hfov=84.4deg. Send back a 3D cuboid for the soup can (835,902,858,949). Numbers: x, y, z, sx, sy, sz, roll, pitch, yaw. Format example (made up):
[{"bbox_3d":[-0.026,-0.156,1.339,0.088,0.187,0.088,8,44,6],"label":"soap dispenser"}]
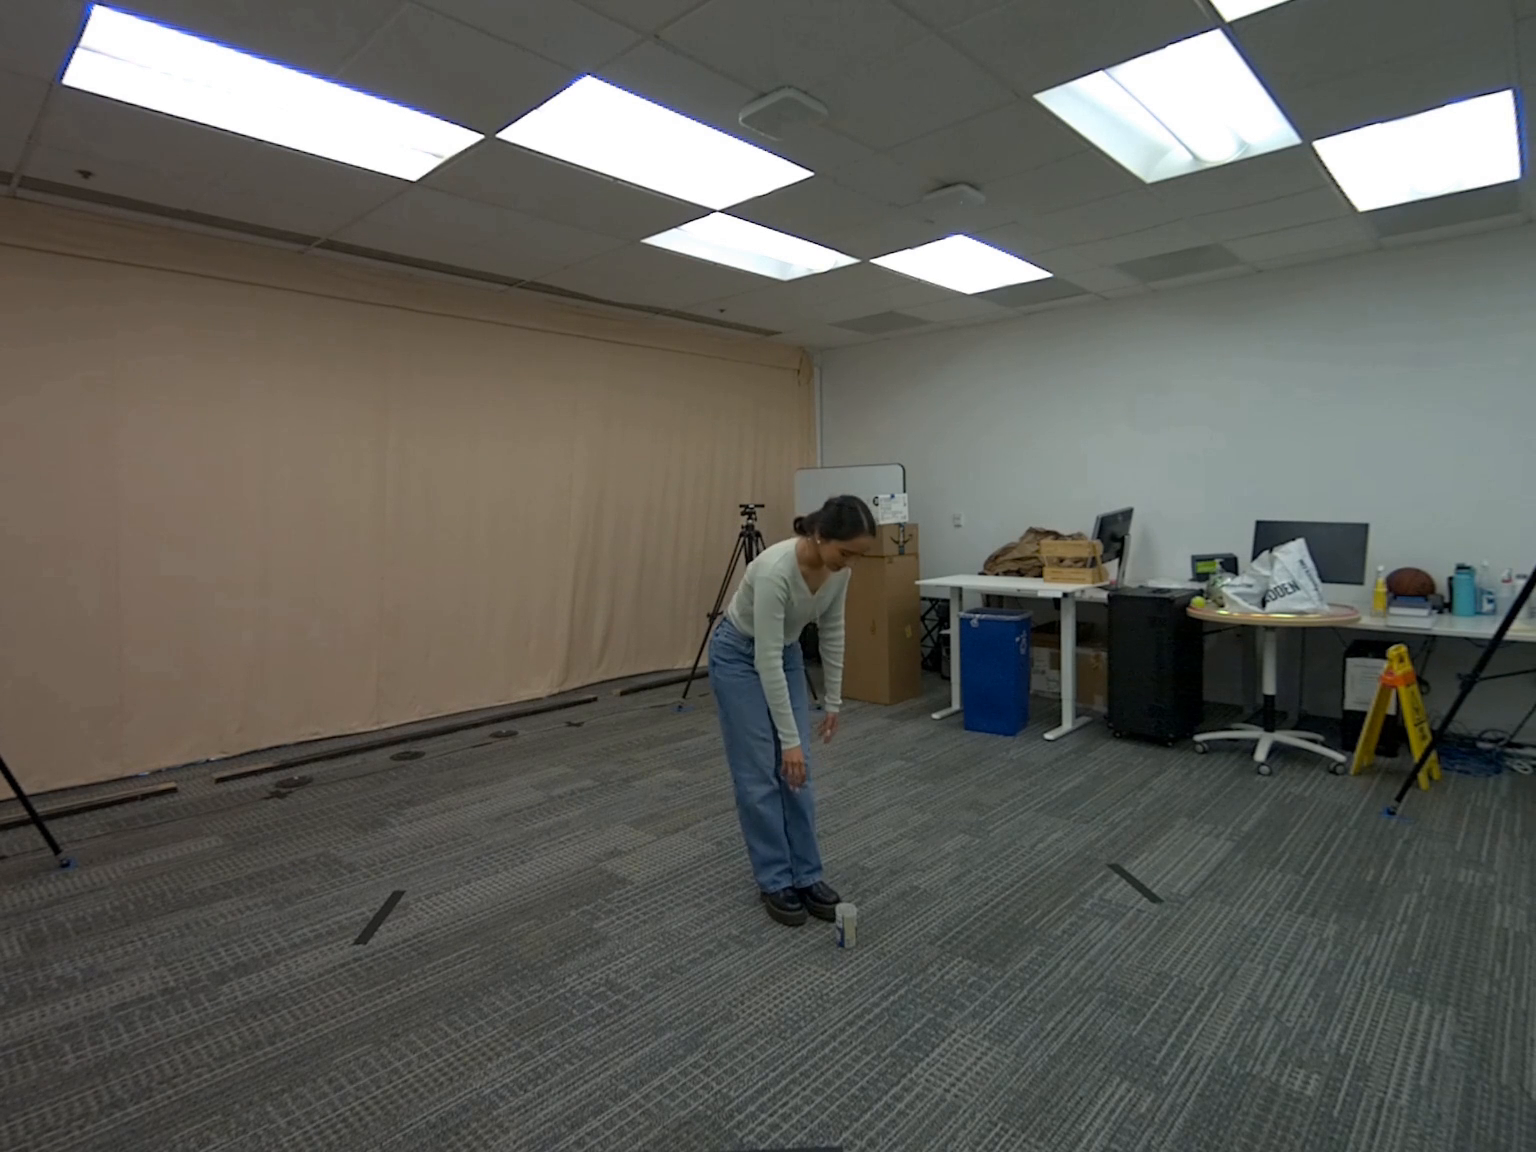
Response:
[{"bbox_3d":[0.253,1.107,2.652,0.067,0.121,0.067,-1,3,-2],"label":"soup can"}]
